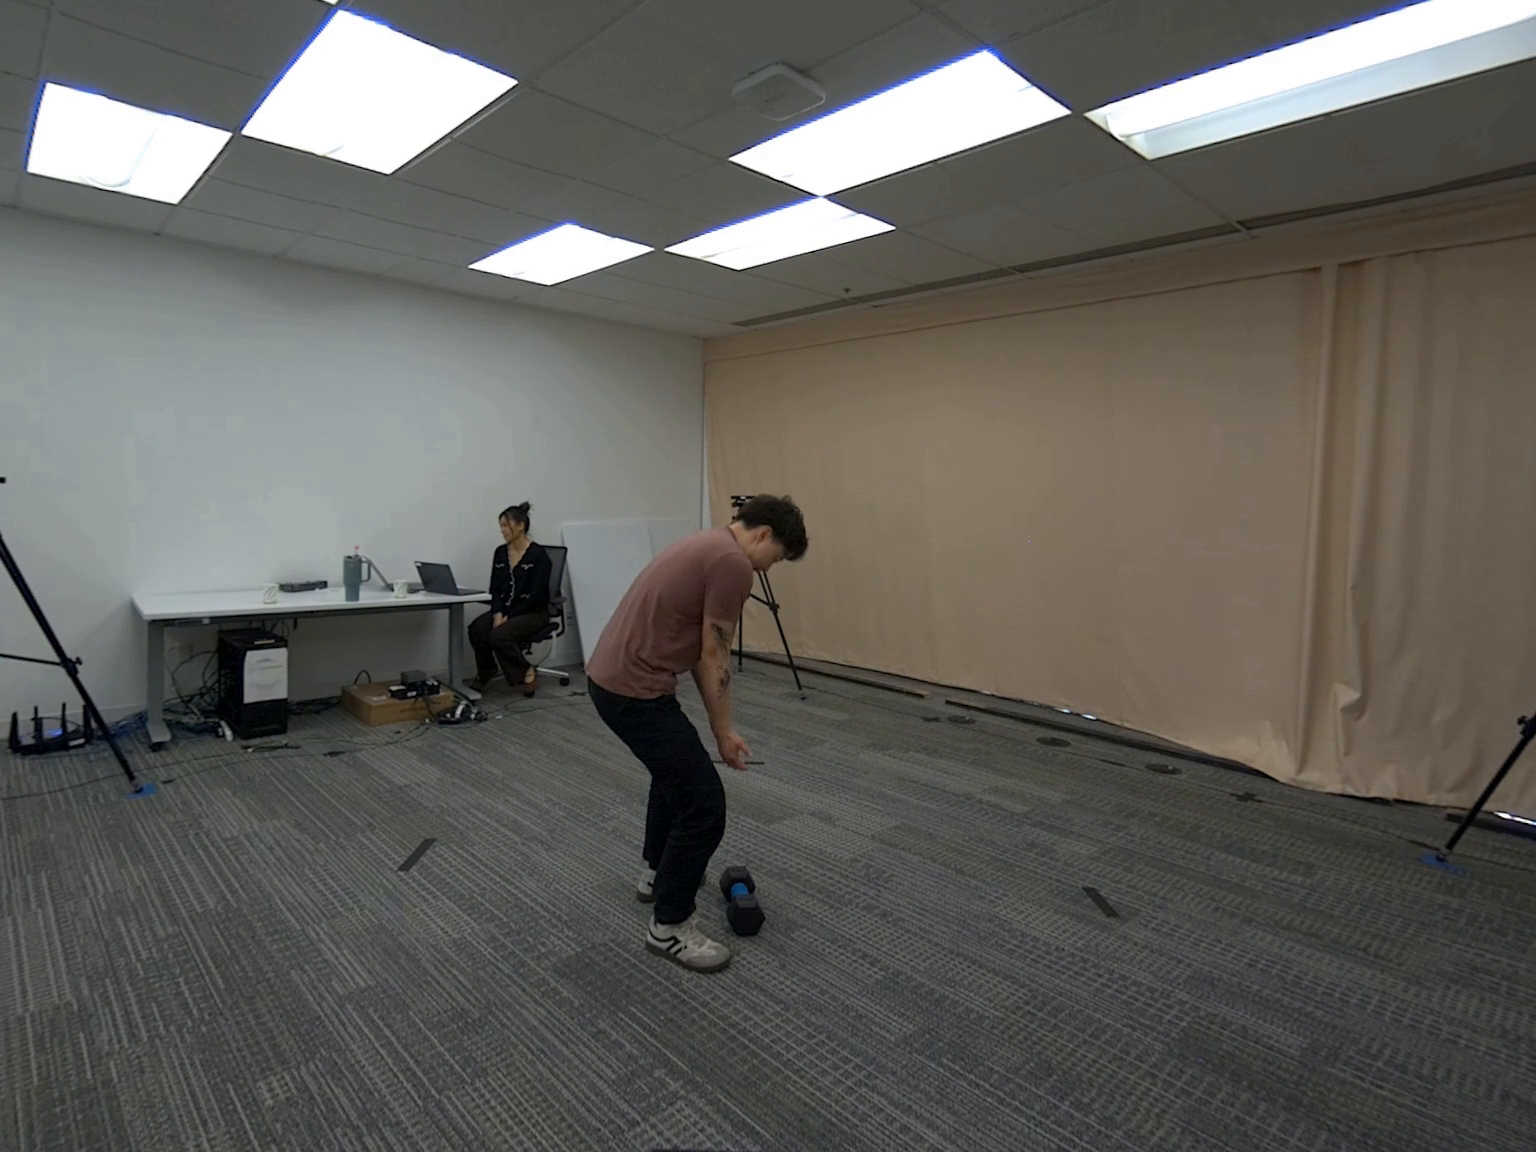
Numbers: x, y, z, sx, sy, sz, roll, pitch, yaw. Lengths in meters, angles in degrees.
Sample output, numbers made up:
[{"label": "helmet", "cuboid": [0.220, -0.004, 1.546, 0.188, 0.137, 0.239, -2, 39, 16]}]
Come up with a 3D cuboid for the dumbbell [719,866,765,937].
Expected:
[{"label": "dumbbell", "cuboid": [-0.090, 1.081, 2.798, 0.108, 0.122, 0.296, -28, 7, -4]}]
